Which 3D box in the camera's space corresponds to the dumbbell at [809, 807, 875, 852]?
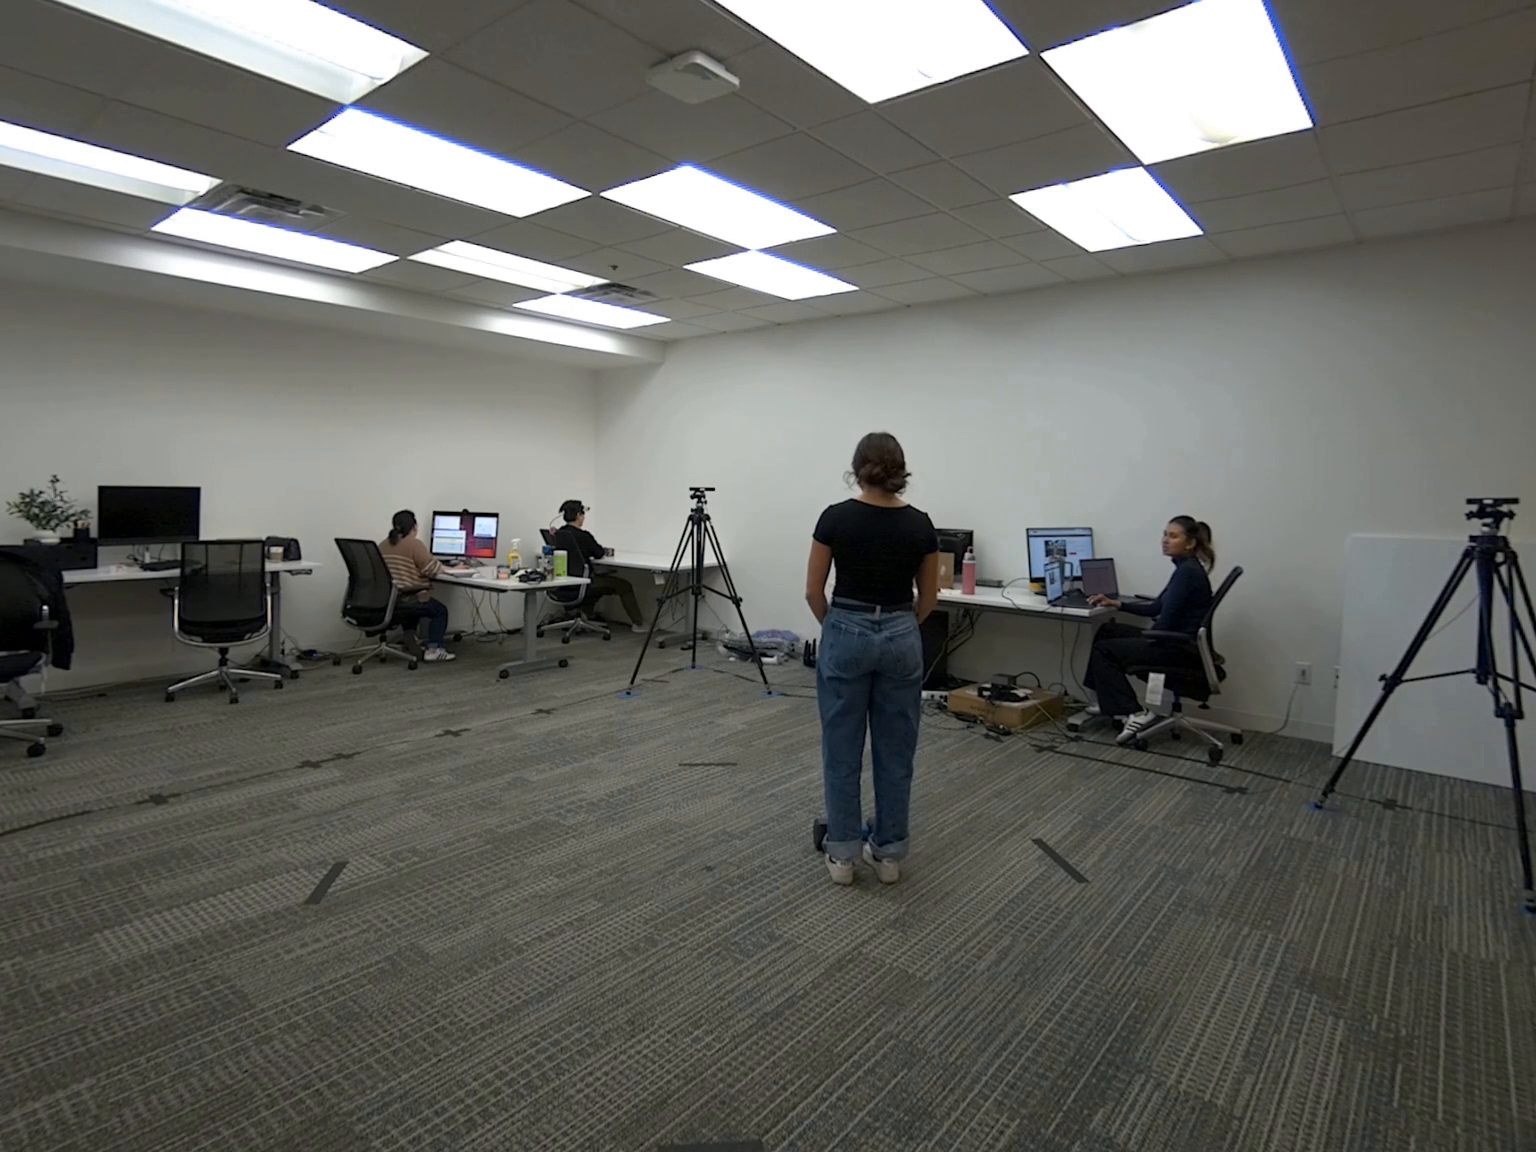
[{"bbox_3d":[0.321,0.996,3.316,0.292,0.120,0.112,1,34,-5],"label":"dumbbell"}]
